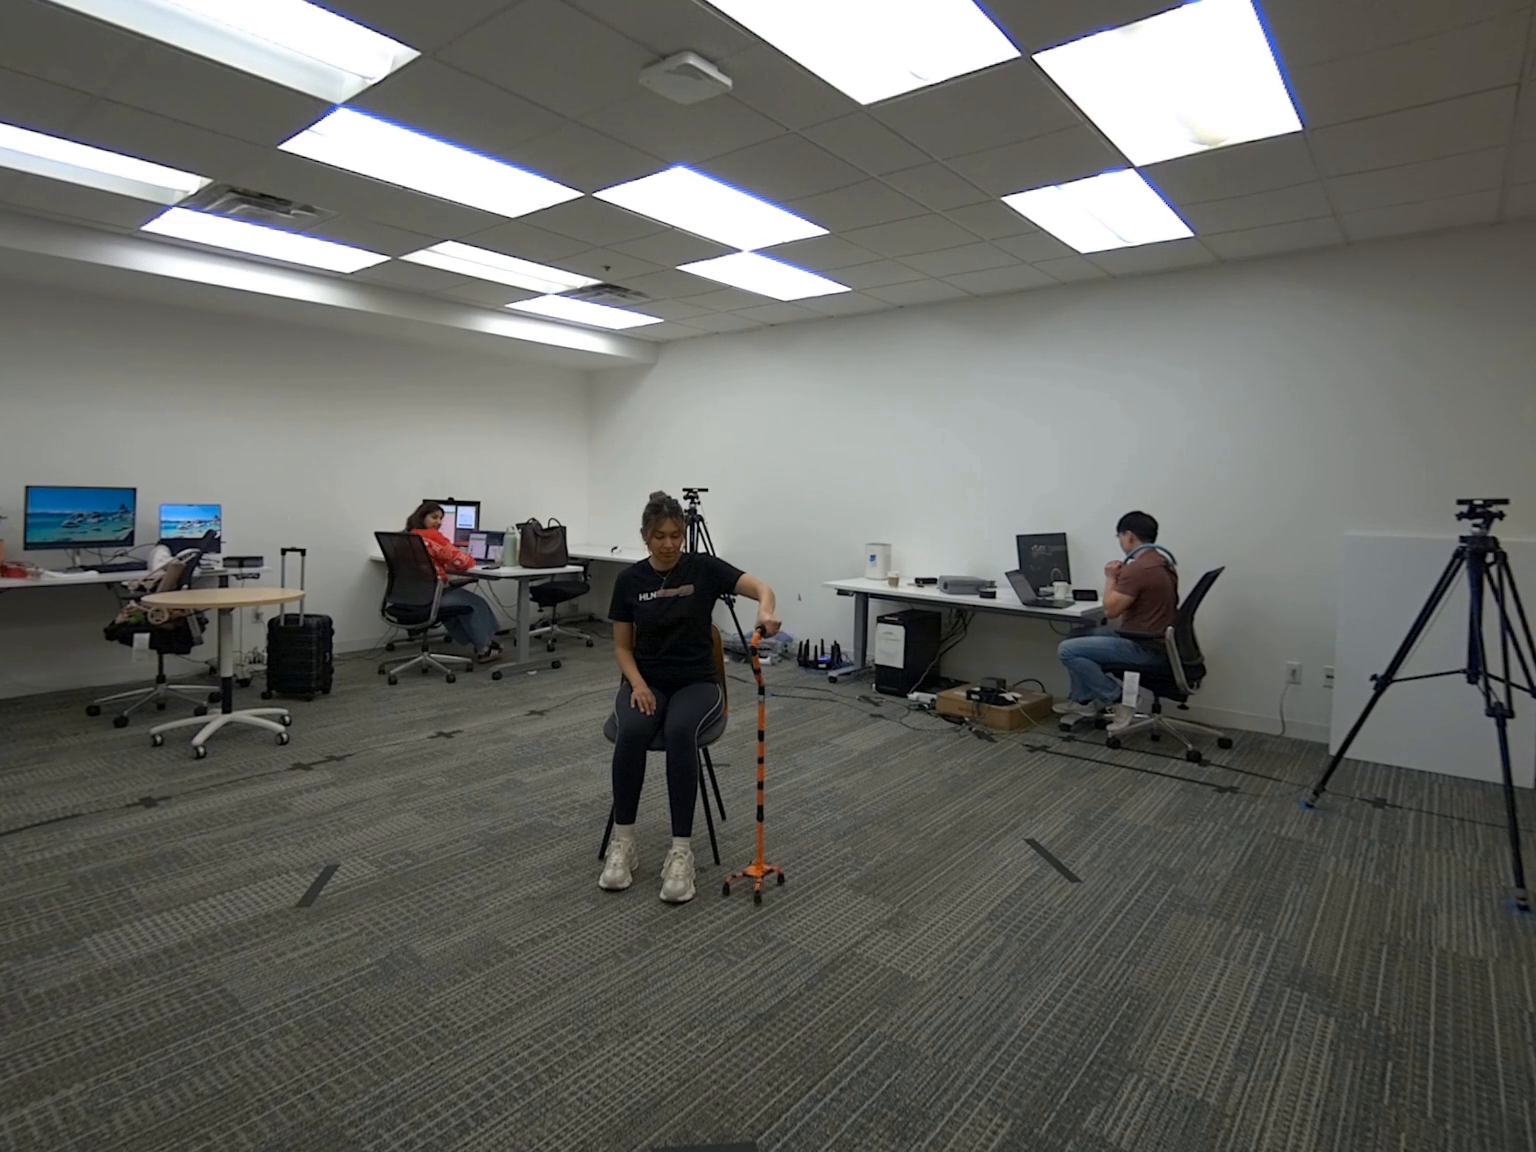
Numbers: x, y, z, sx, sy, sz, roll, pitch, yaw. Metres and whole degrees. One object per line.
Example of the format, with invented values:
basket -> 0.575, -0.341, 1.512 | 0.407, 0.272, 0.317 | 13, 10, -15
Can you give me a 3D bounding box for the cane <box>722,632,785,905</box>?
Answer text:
cane -> -0.044, 0.633, 2.942 | 0.156, 0.907, 0.201 | 2, 1, 26
